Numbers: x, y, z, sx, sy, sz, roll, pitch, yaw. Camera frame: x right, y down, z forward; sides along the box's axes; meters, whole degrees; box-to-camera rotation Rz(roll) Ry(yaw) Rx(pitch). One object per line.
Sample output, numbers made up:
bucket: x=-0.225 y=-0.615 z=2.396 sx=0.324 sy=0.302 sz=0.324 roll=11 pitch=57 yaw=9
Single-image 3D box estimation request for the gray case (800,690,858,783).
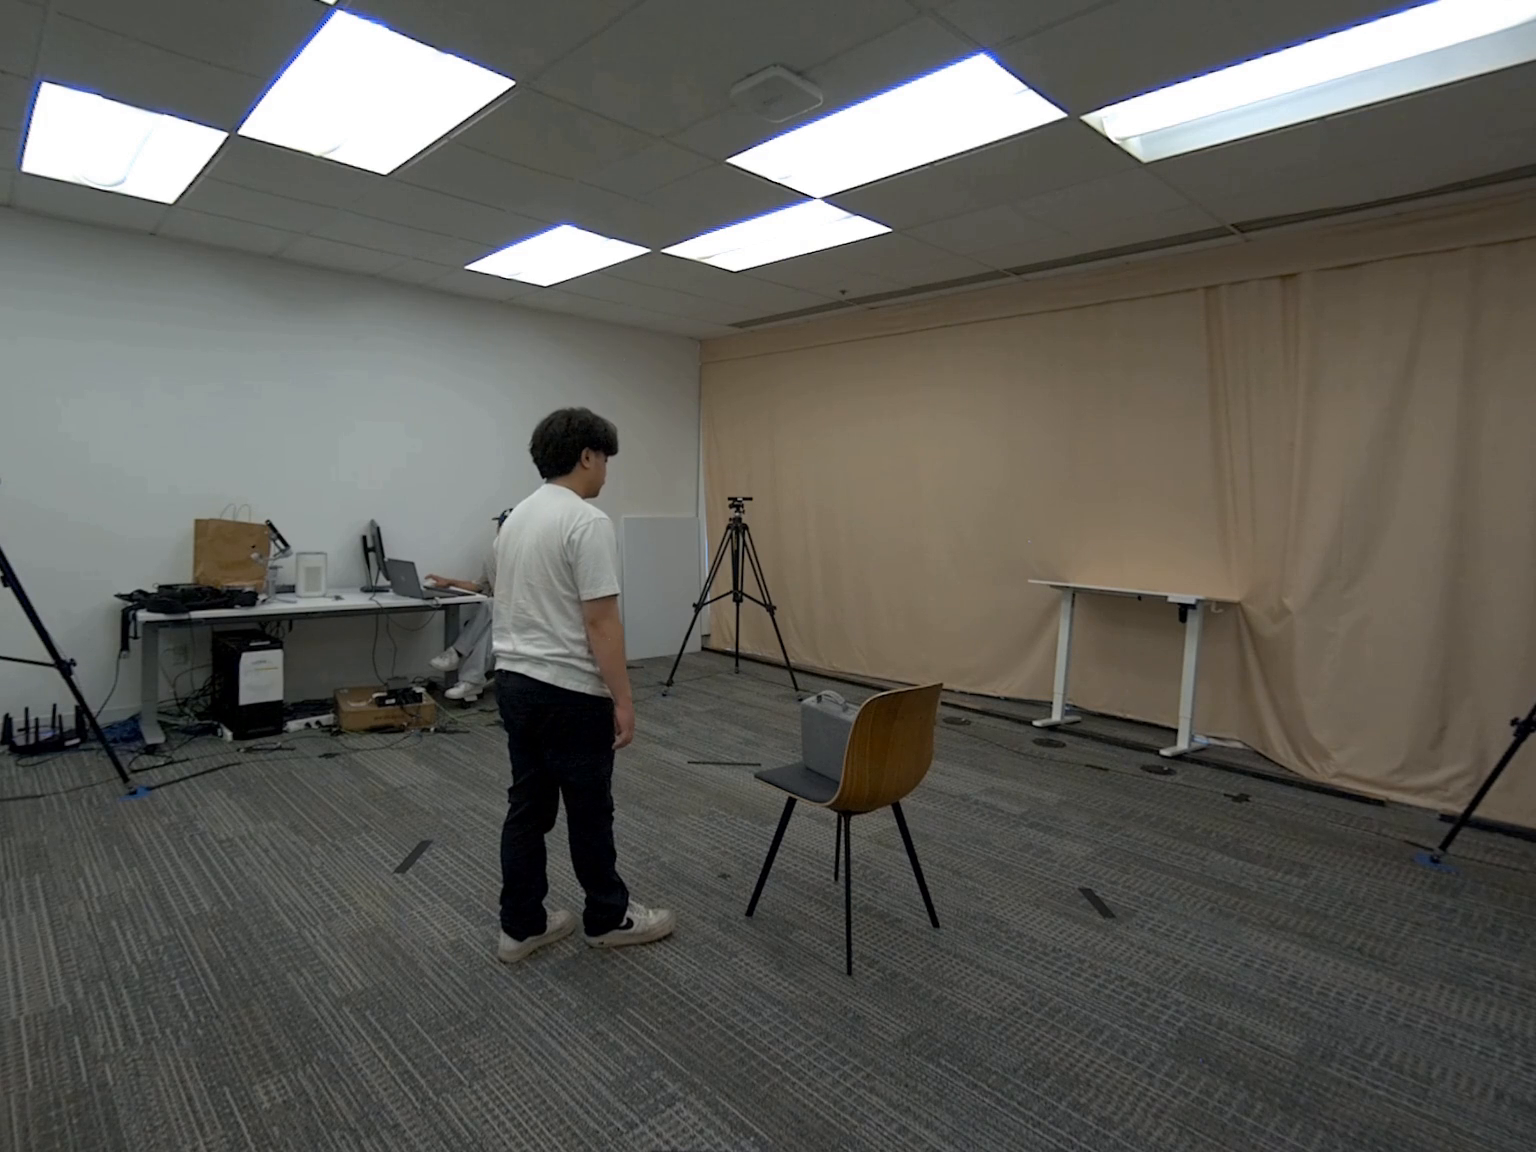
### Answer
gray case: x=0.221 y=0.540 z=2.783 sx=0.102 sy=0.258 sz=0.264 roll=-13 pitch=16 yaw=-39
